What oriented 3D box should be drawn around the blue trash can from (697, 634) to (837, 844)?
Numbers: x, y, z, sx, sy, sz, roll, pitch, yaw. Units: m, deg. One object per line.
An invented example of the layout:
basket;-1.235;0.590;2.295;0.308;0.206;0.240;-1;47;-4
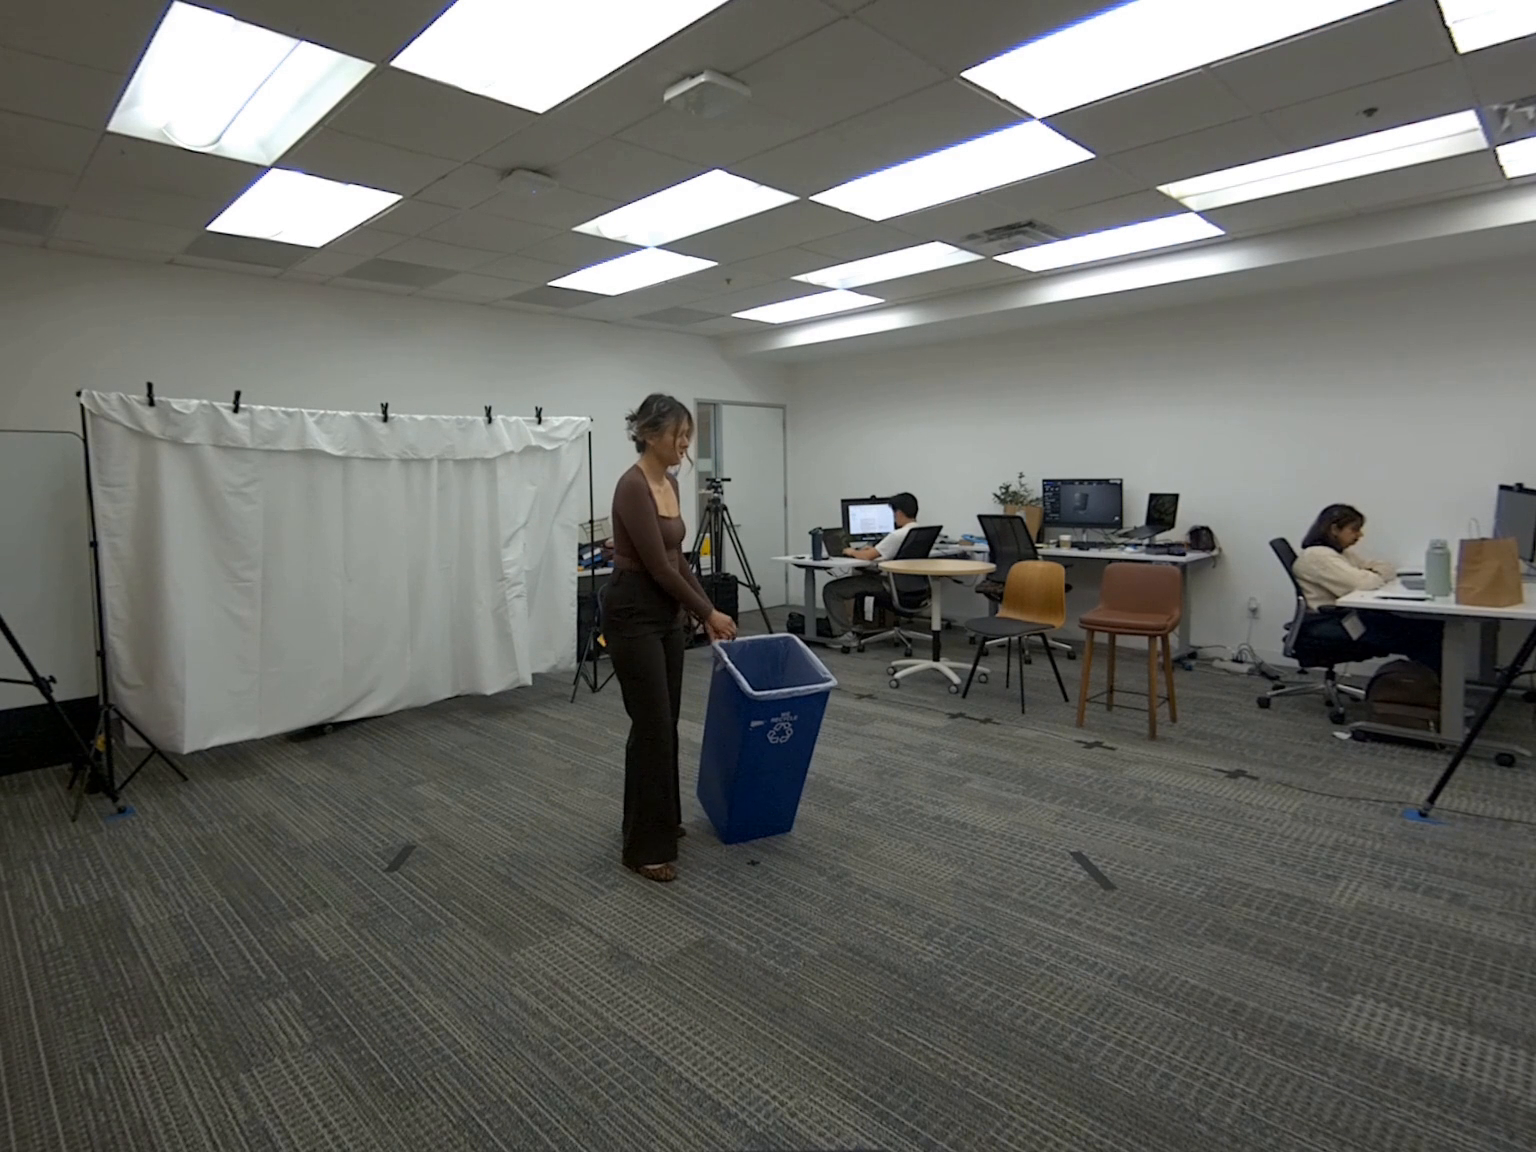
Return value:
blue trash can;-0.035;0.630;3.307;0.366;0.702;0.393;-3;27;-27
